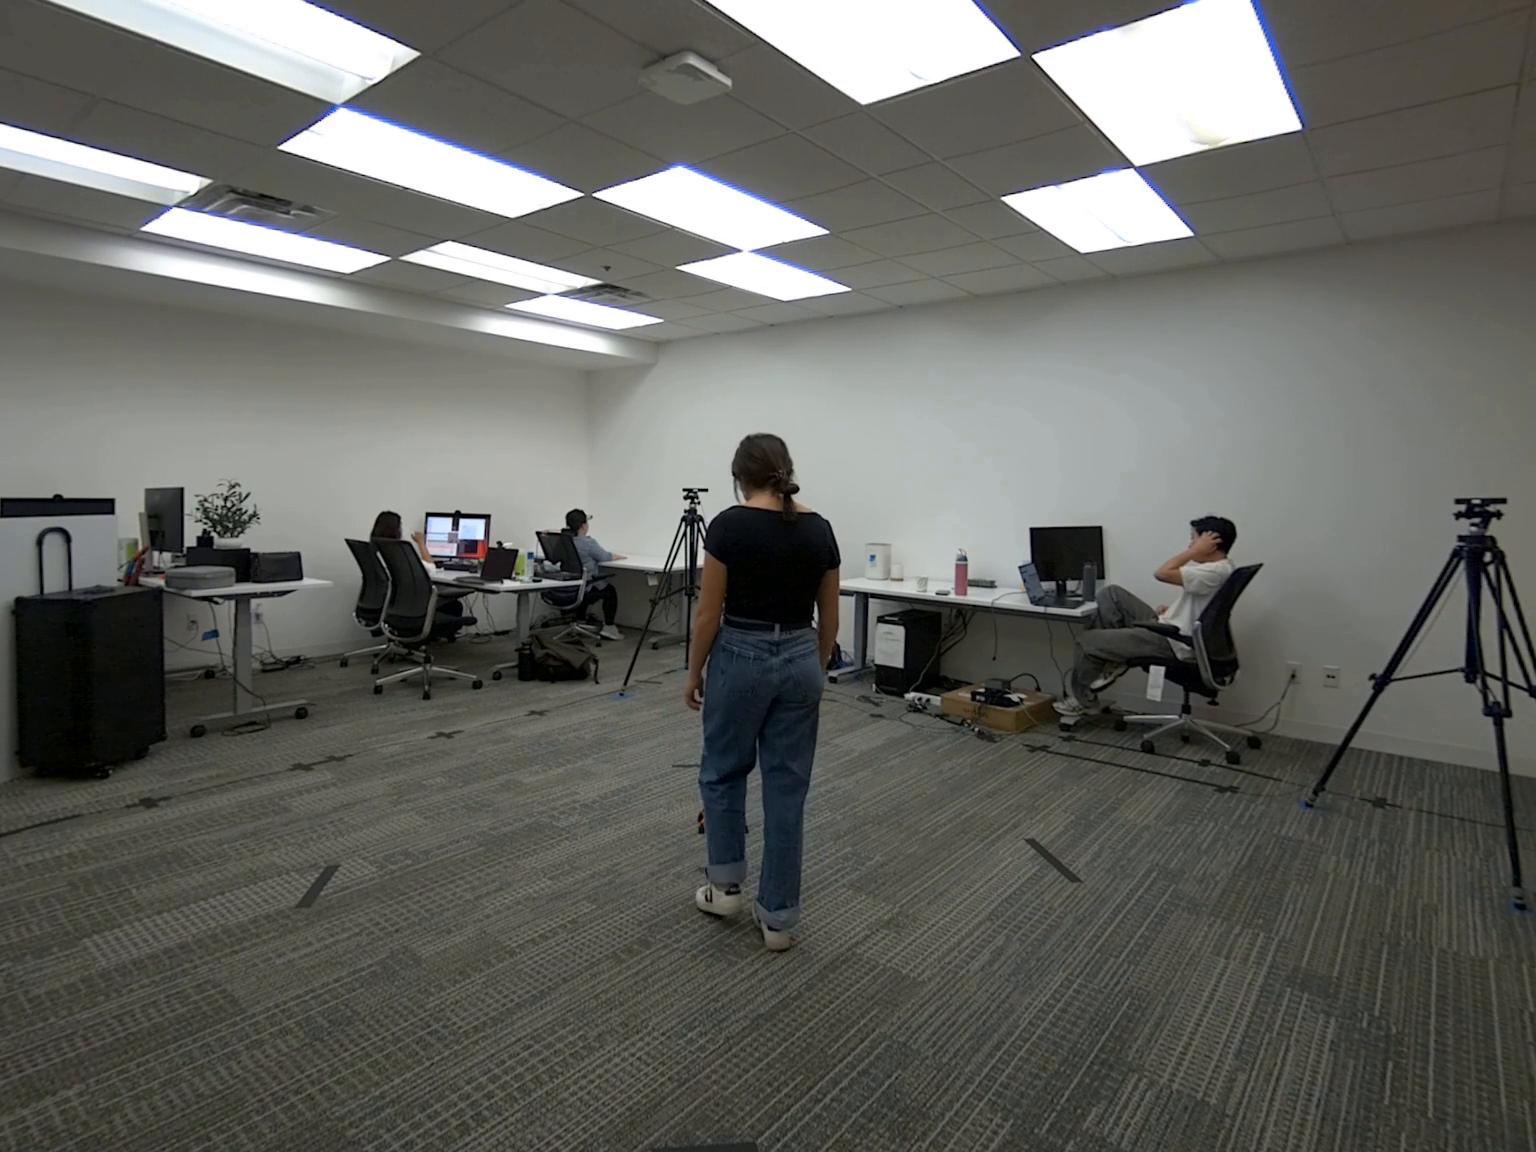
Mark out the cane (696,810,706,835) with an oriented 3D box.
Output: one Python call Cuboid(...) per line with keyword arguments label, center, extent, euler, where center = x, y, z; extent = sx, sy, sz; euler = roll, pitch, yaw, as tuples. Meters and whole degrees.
Cuboid(label="cane", center=(-0.166, 0.567, 3.489), extent=(0.205, 0.905, 0.153), euler=(1, 3, -5))
